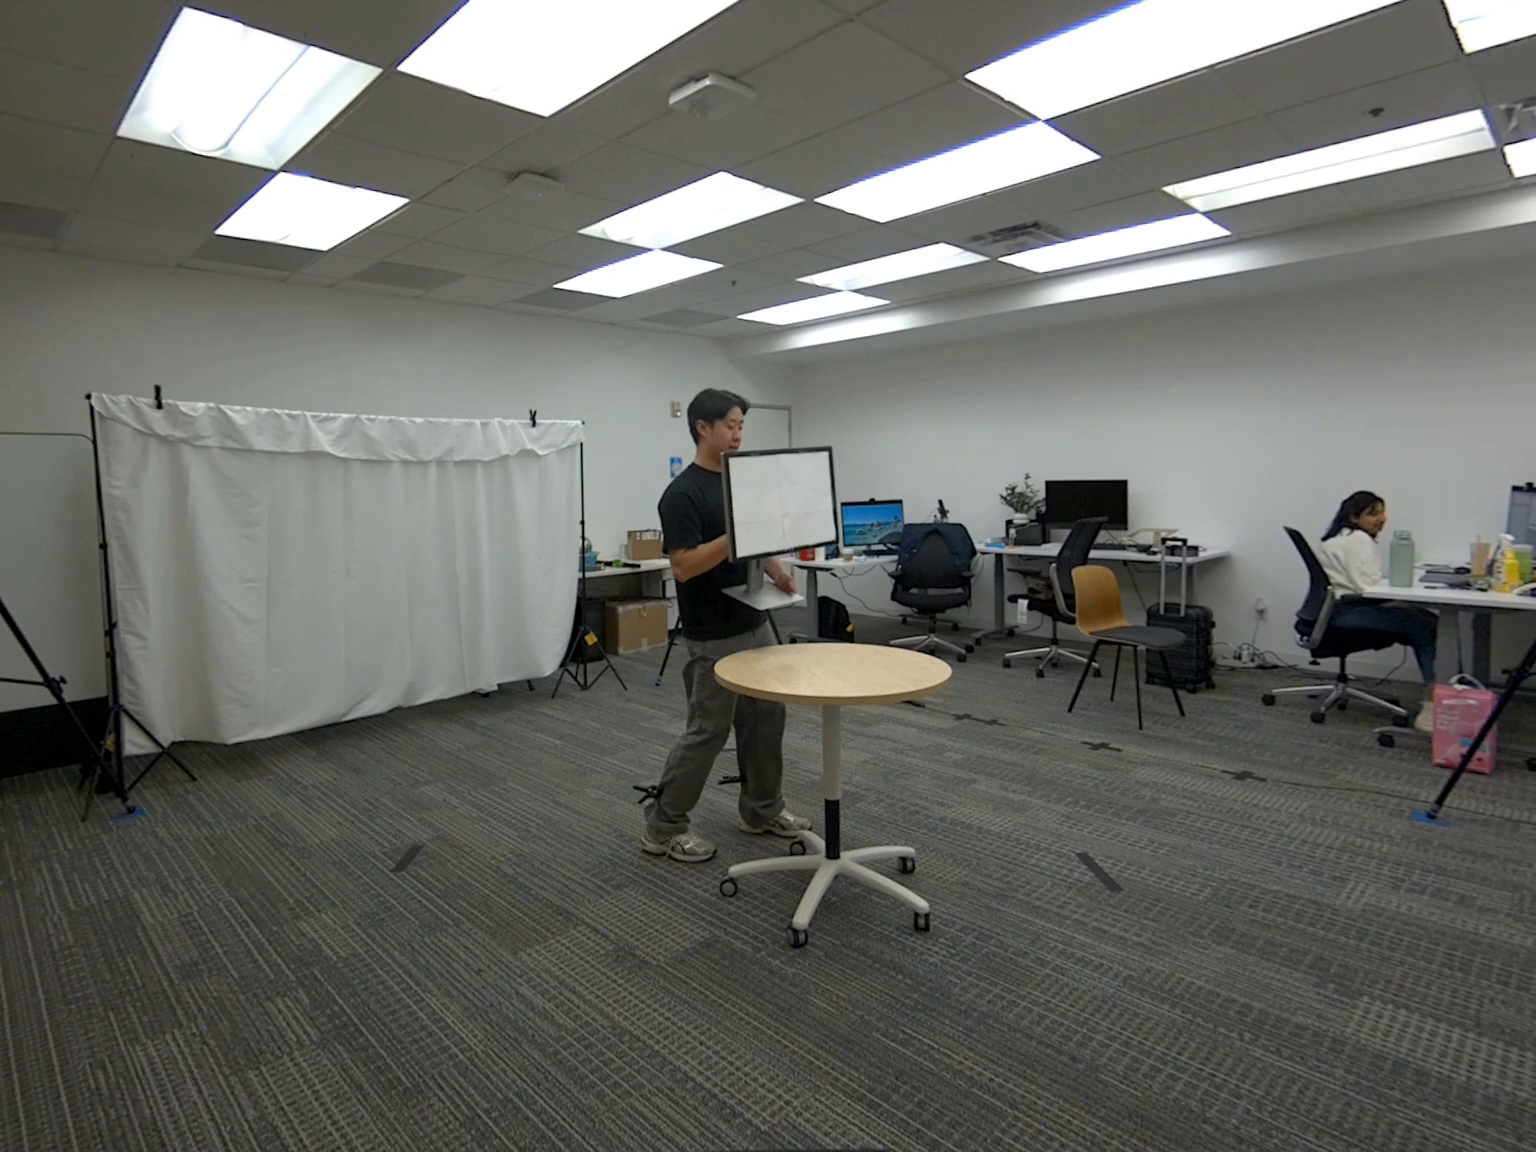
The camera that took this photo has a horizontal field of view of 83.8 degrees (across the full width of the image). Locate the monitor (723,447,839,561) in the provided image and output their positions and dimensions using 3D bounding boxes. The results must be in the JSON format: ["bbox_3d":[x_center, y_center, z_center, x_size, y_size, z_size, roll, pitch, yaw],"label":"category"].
[{"bbox_3d":[0.016,-0.172,3.023,0.548,0.559,0.230,-9,23,-43],"label":"monitor"}]
